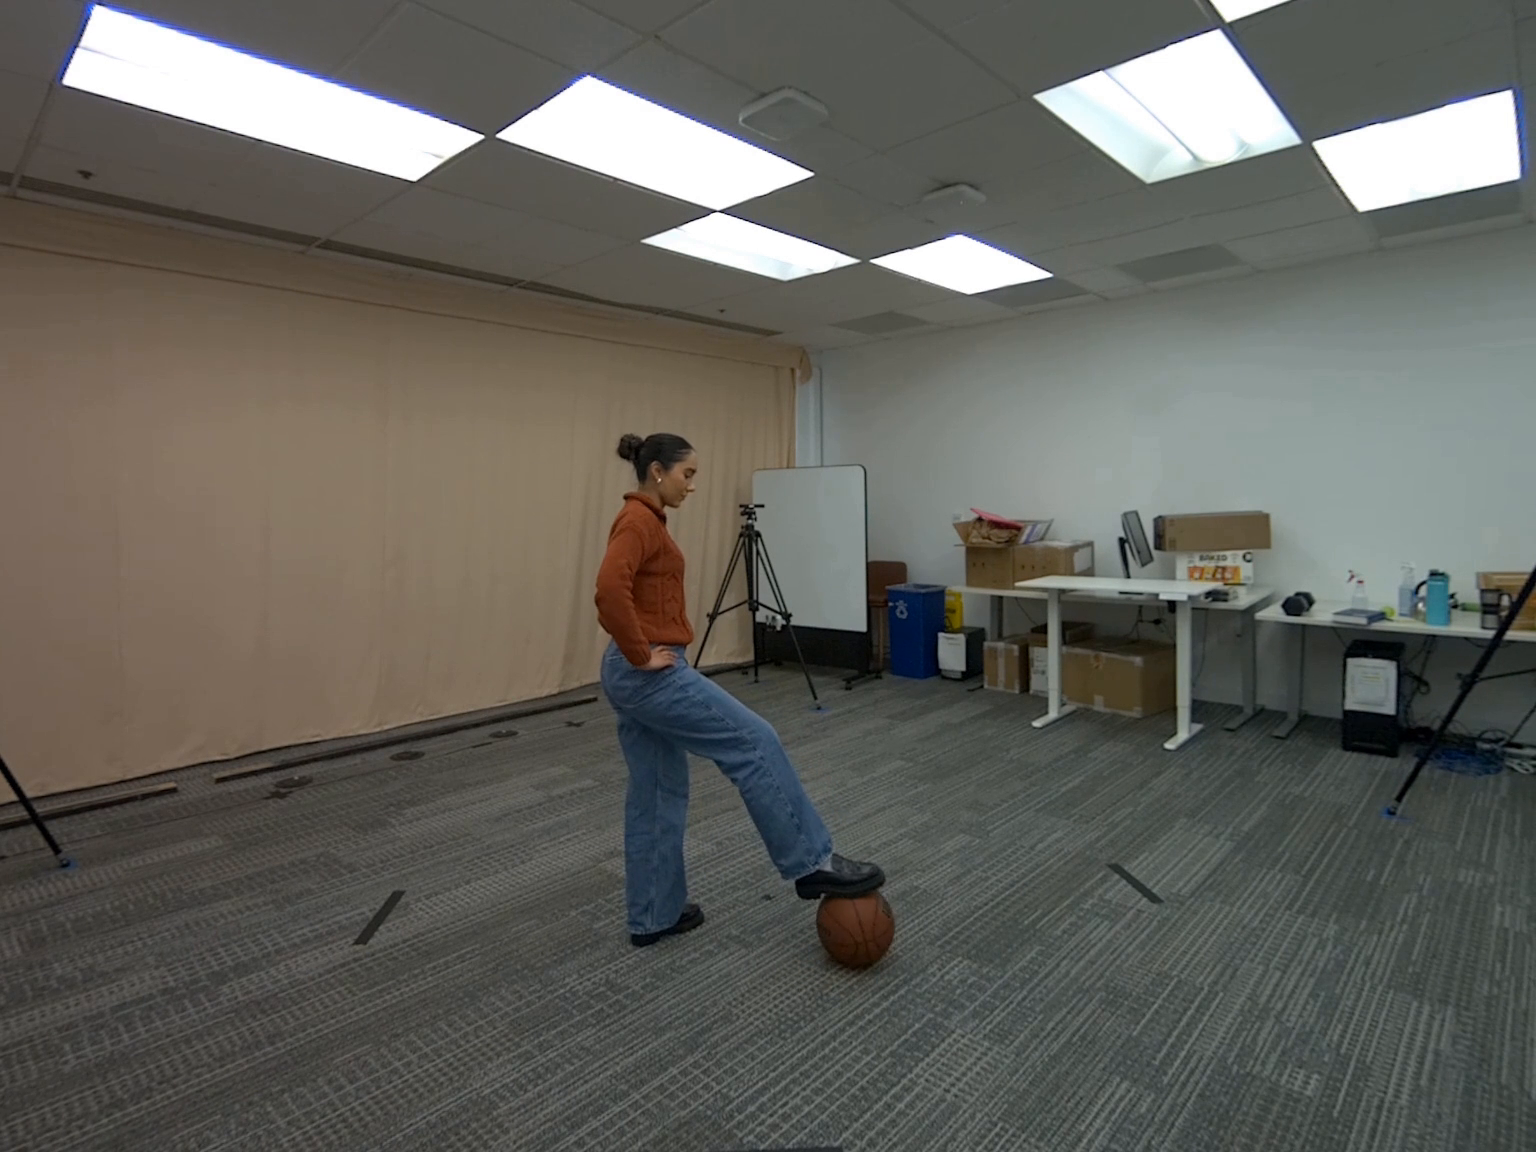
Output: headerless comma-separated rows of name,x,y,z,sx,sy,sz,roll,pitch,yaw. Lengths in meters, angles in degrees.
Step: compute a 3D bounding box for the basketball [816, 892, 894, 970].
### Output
basketball,0.271,1.055,2.554,0.236,0.235,0.237,-1,4,-2
